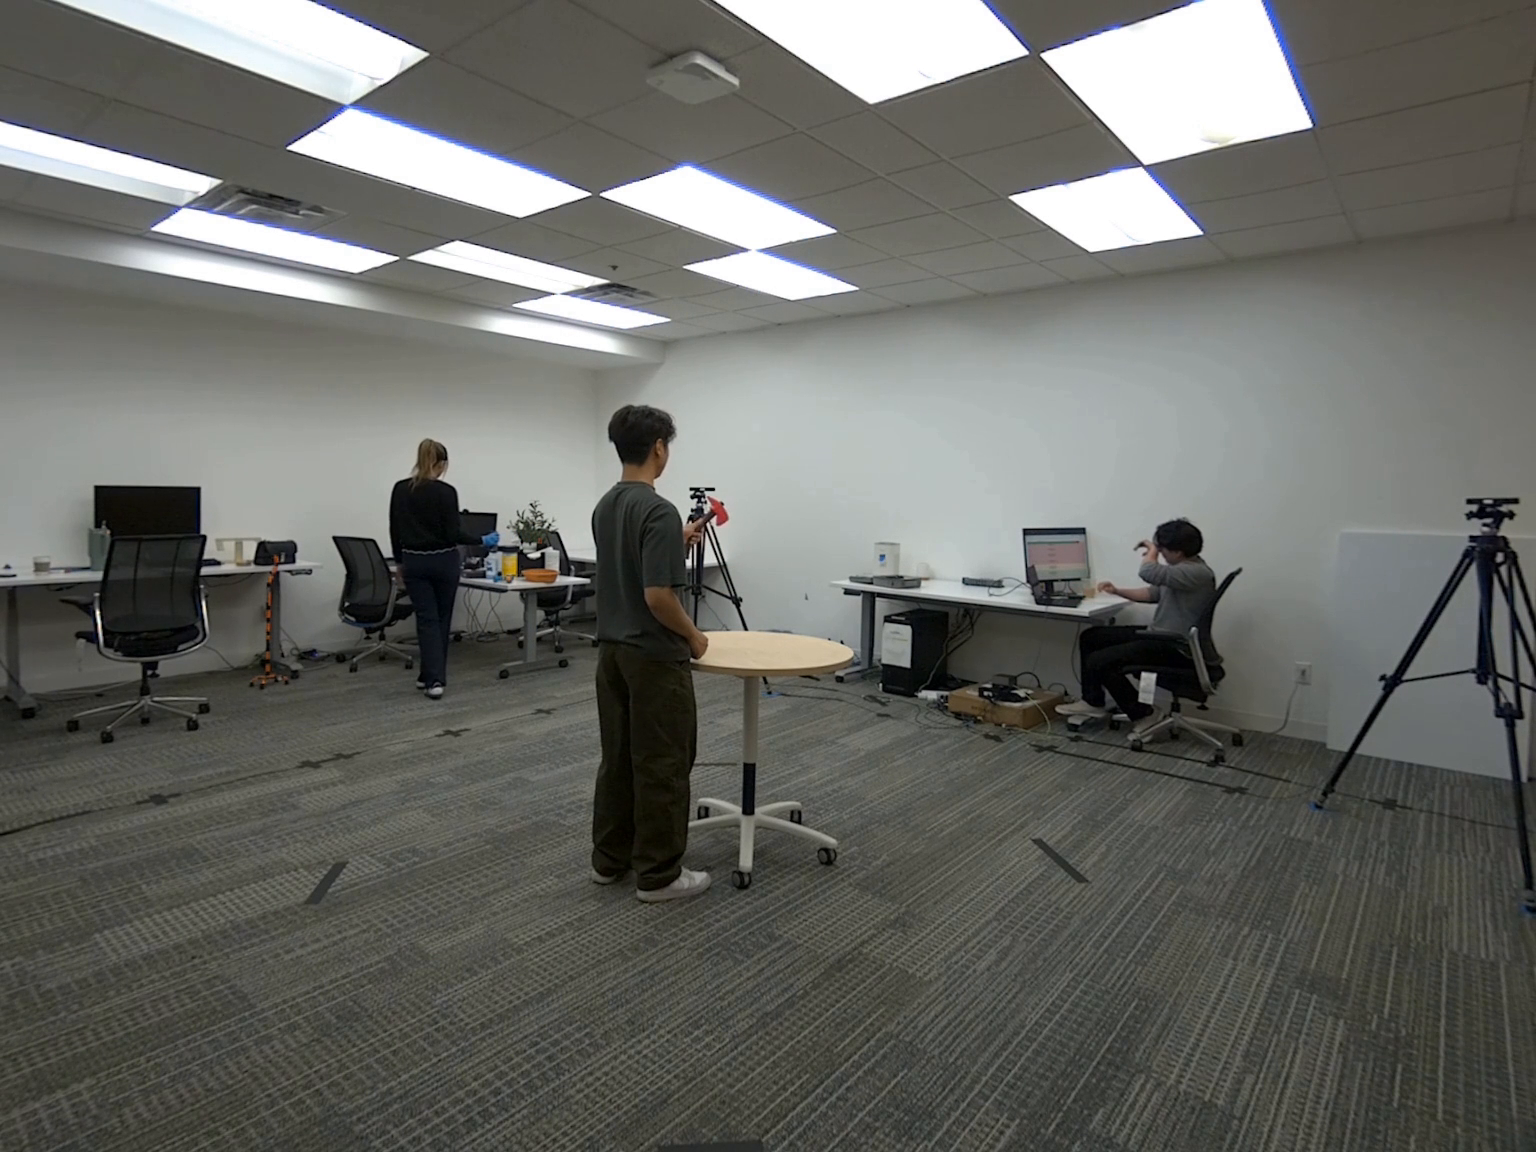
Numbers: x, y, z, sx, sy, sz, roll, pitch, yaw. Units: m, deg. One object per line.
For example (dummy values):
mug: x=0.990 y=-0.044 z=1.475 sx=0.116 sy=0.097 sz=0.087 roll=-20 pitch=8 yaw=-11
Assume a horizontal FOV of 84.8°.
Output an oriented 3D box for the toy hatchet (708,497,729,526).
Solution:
toy hatchet: x=-0.263 y=-0.183 z=3.358 sx=0.126 sy=0.270 sz=0.030 roll=29 pitch=-3 yaw=-31
